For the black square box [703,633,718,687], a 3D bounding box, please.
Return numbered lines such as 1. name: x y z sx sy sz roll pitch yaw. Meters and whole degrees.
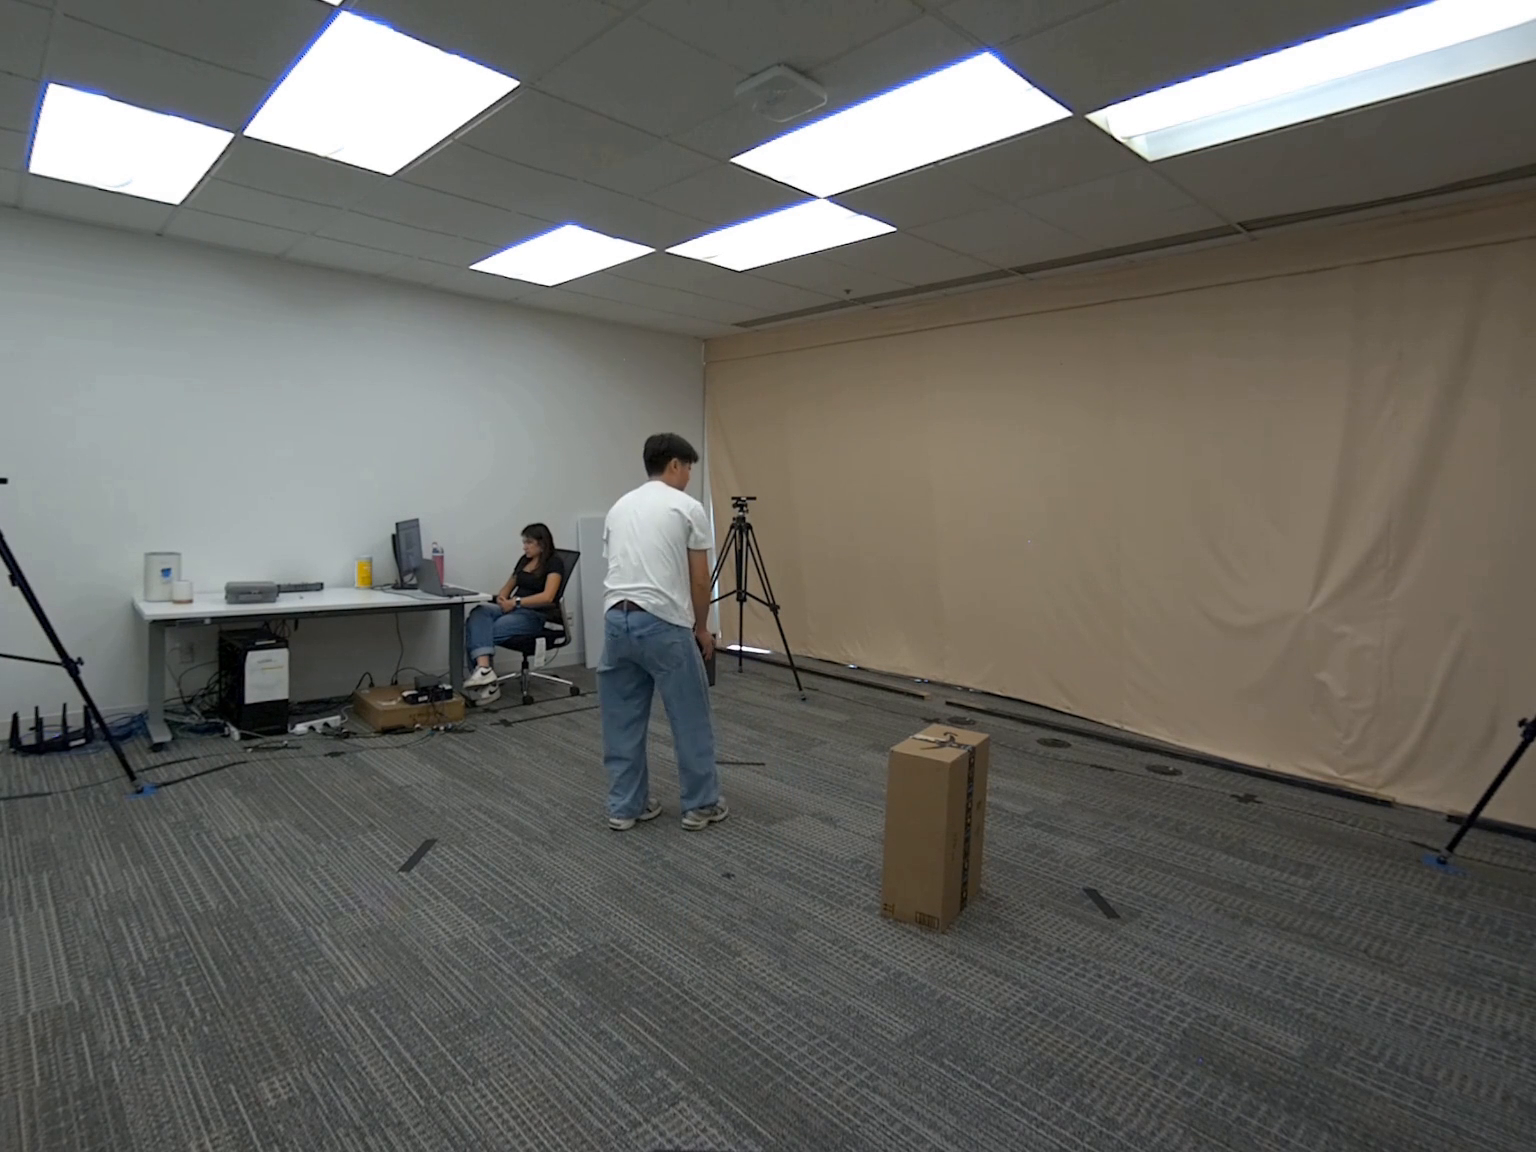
1. black square box: -0.376 0.383 3.796 0.221 0.228 0.152 1 -3 30
